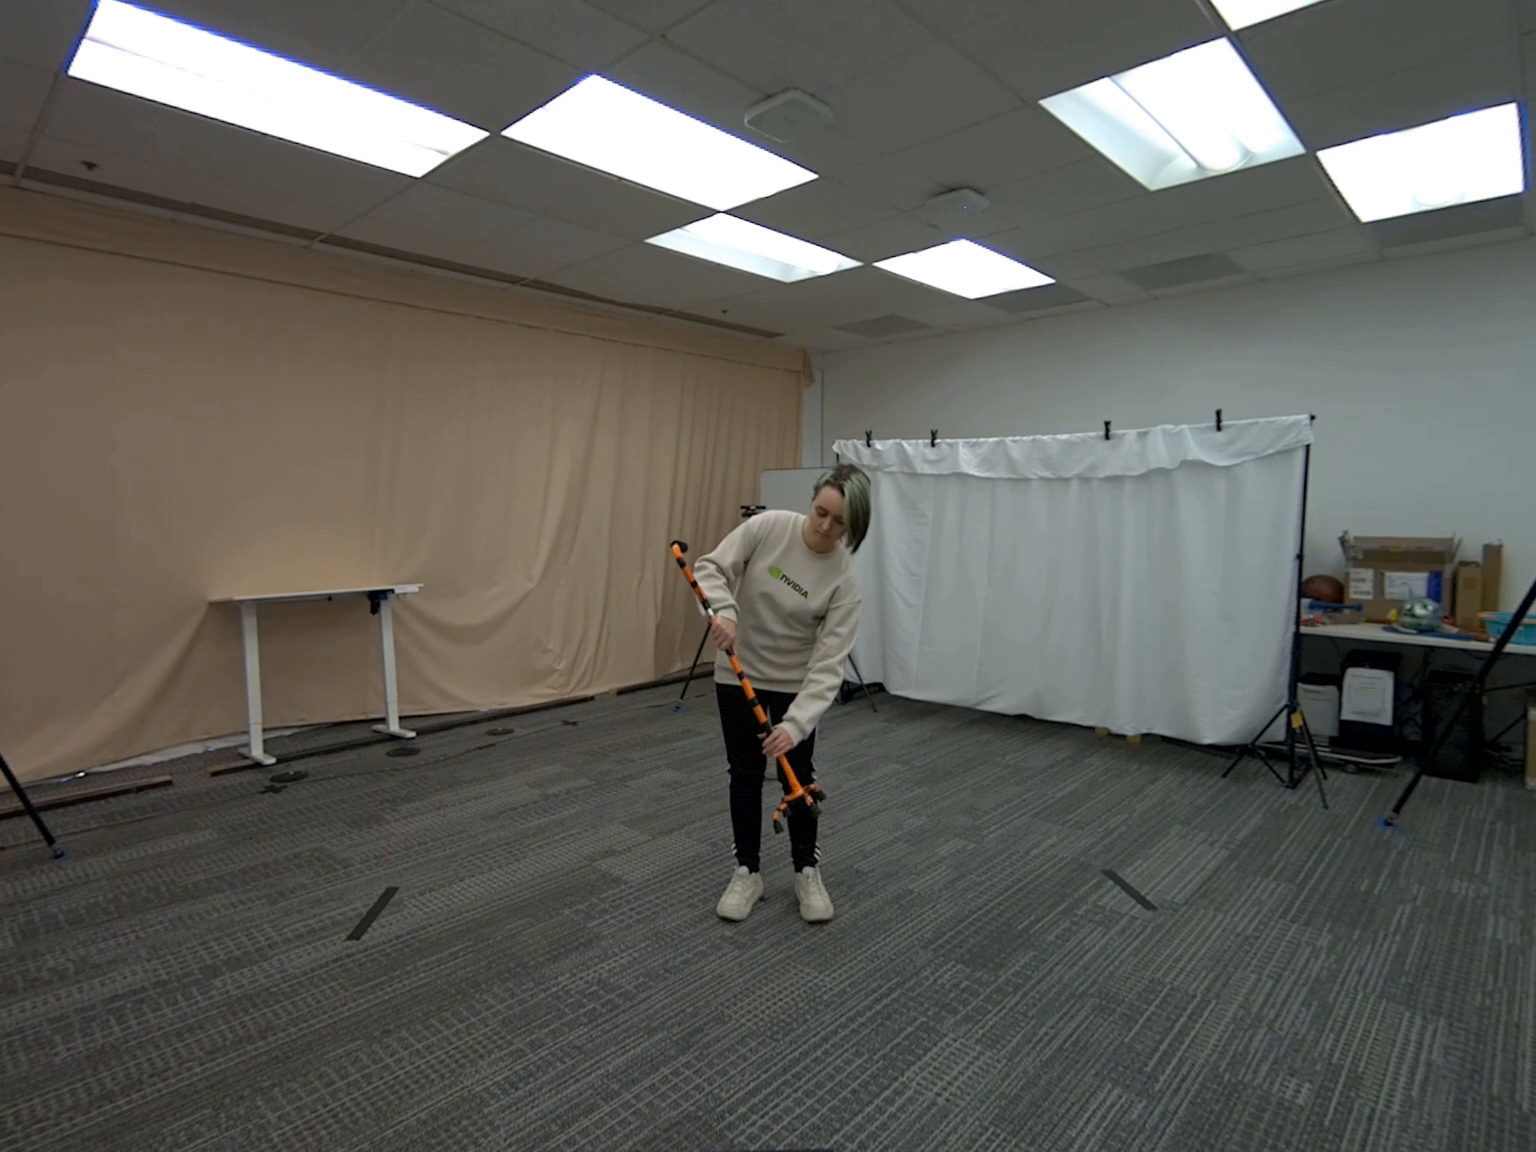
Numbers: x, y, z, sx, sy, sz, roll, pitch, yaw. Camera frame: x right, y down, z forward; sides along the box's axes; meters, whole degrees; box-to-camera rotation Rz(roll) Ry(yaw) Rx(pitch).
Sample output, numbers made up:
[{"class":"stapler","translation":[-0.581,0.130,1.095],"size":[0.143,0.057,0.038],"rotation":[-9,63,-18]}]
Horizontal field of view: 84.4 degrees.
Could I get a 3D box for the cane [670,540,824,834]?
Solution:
[{"class":"cane","translation":[-0.086,0.323,2.557],"size":[0.152,0.915,0.204],"rotation":[-27,-7,6]}]
